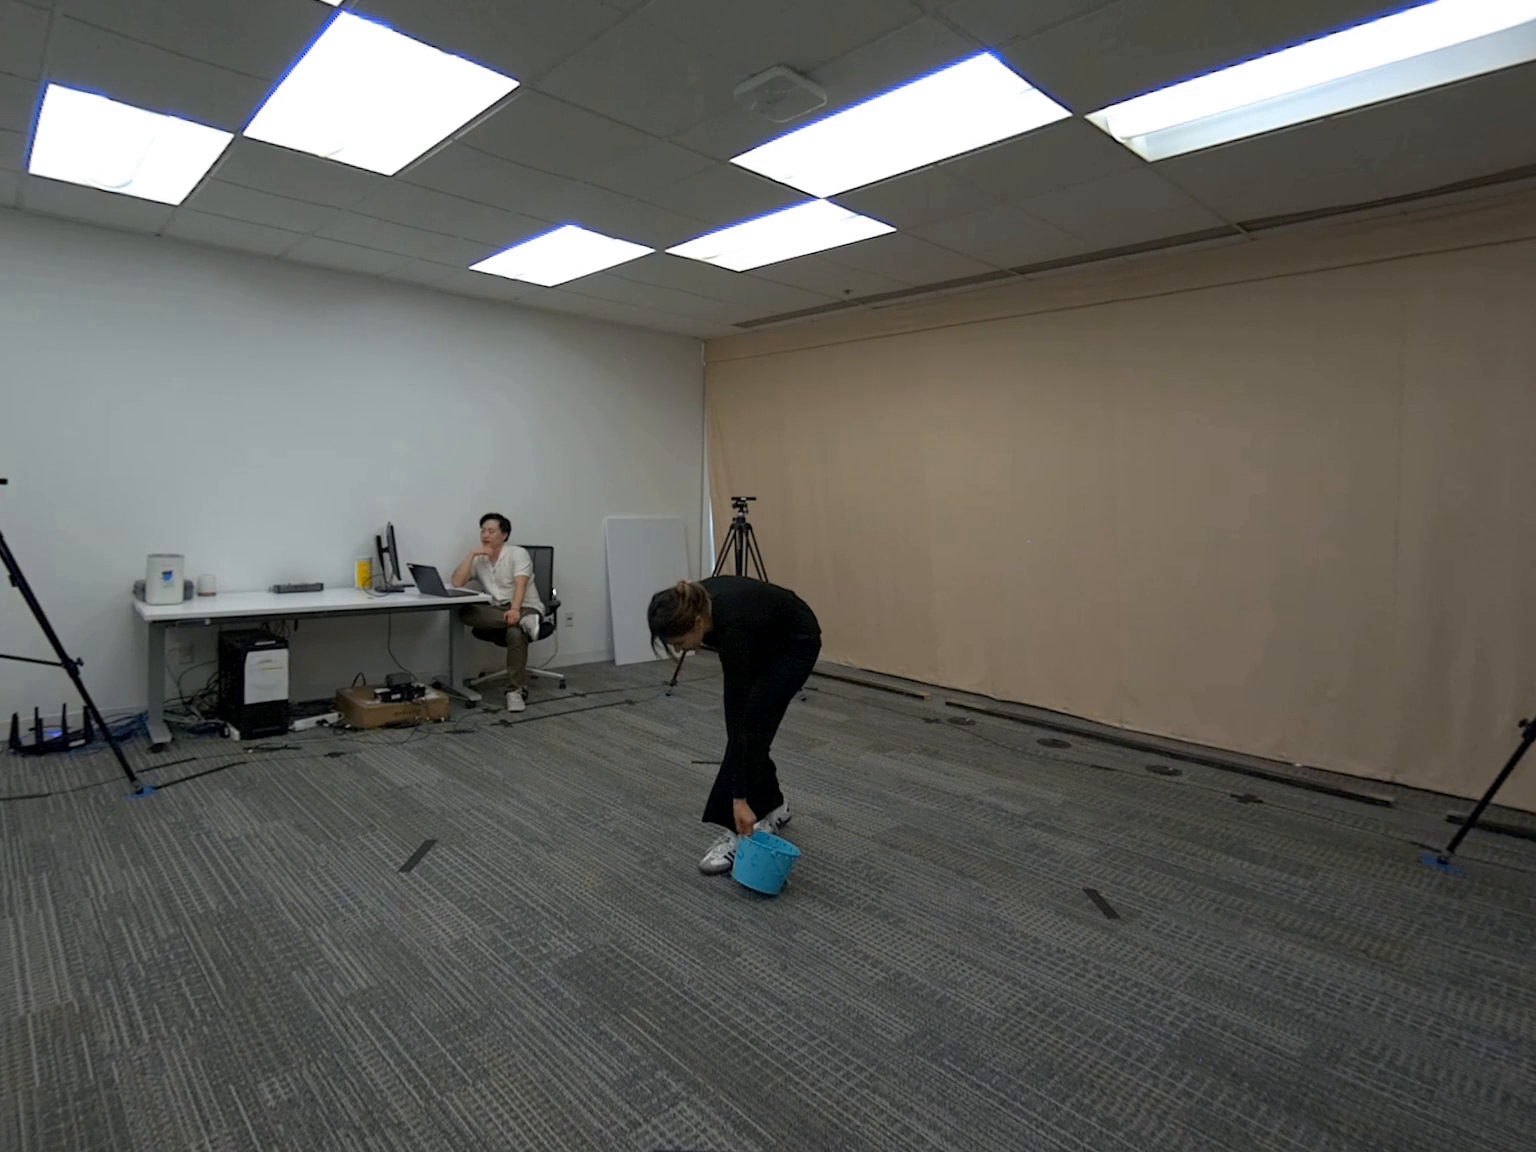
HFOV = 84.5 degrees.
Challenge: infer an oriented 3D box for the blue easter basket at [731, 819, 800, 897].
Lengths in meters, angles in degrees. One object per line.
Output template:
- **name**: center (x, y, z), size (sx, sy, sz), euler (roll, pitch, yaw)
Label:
- **blue easter basket**: center (-0.022, 1.018, 2.985), size (0.244, 0.156, 0.243), euler (20, -4, 0)
